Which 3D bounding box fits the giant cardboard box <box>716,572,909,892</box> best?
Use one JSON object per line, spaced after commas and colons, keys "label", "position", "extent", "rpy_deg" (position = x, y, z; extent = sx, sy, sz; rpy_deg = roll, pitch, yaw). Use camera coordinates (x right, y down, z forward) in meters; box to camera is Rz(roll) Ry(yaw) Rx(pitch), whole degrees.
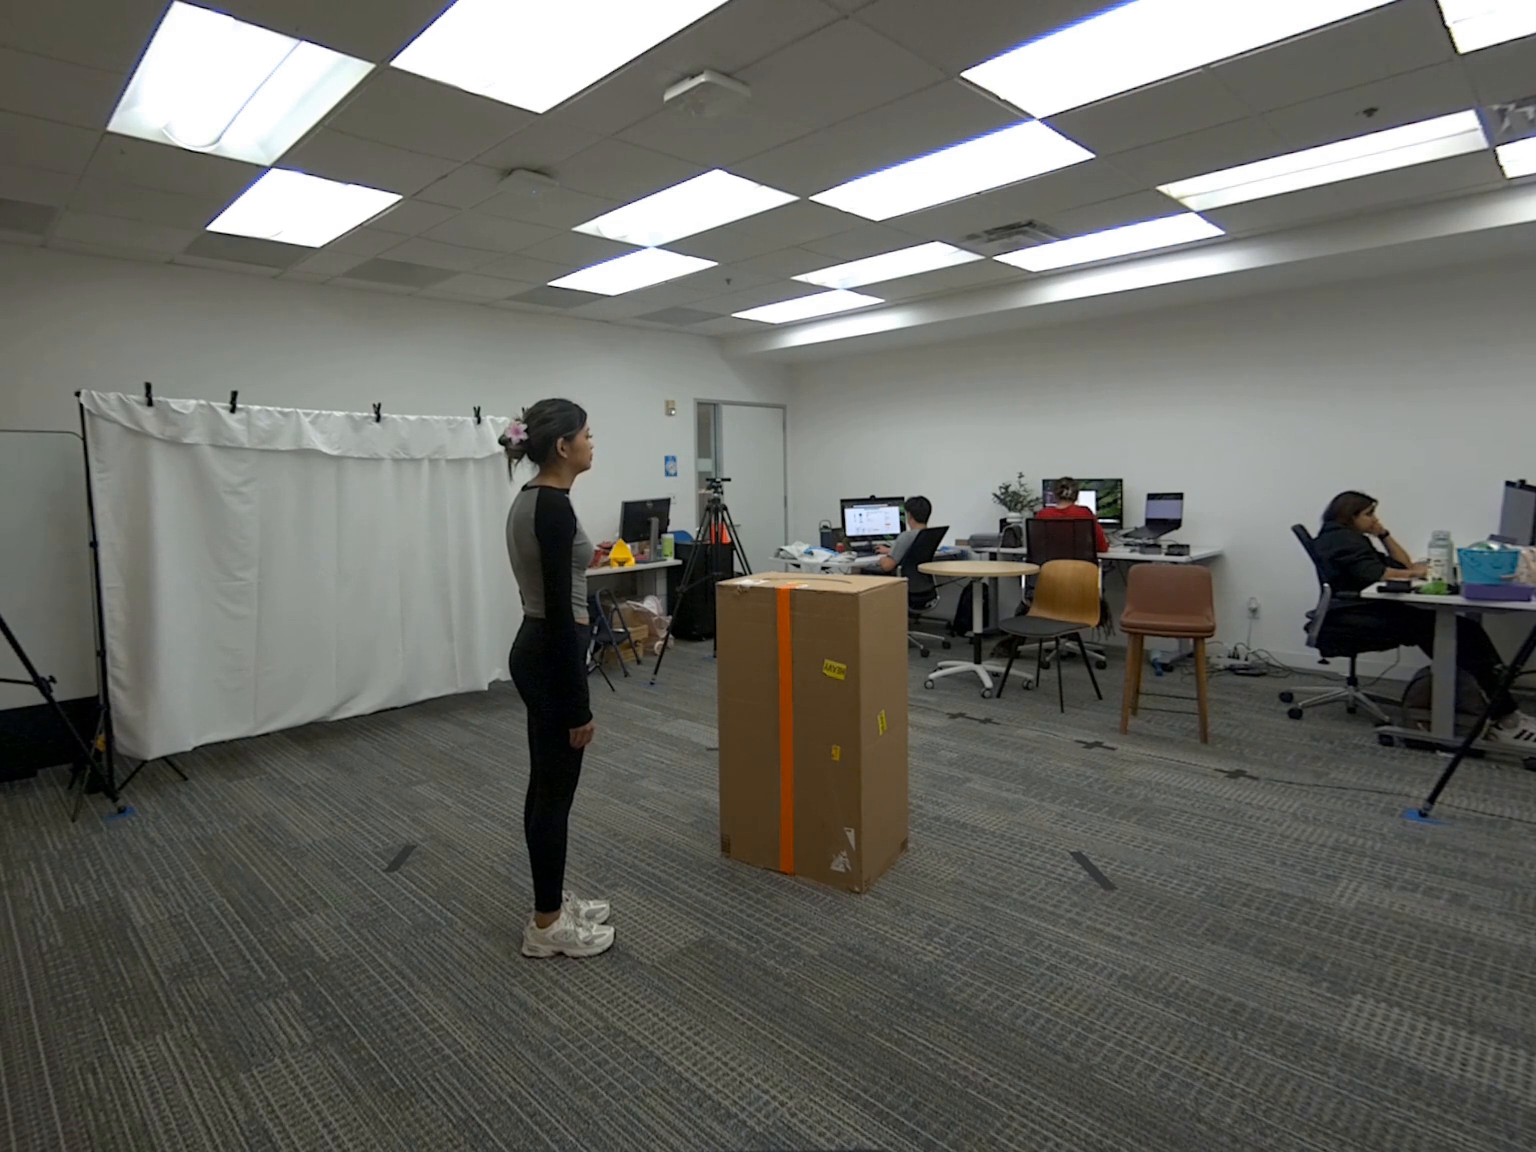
{"label": "giant cardboard box", "position": [0.169, 0.524, 3.149], "extent": [0.593, 1.022, 0.416], "rpy_deg": [1, 5, 34]}
